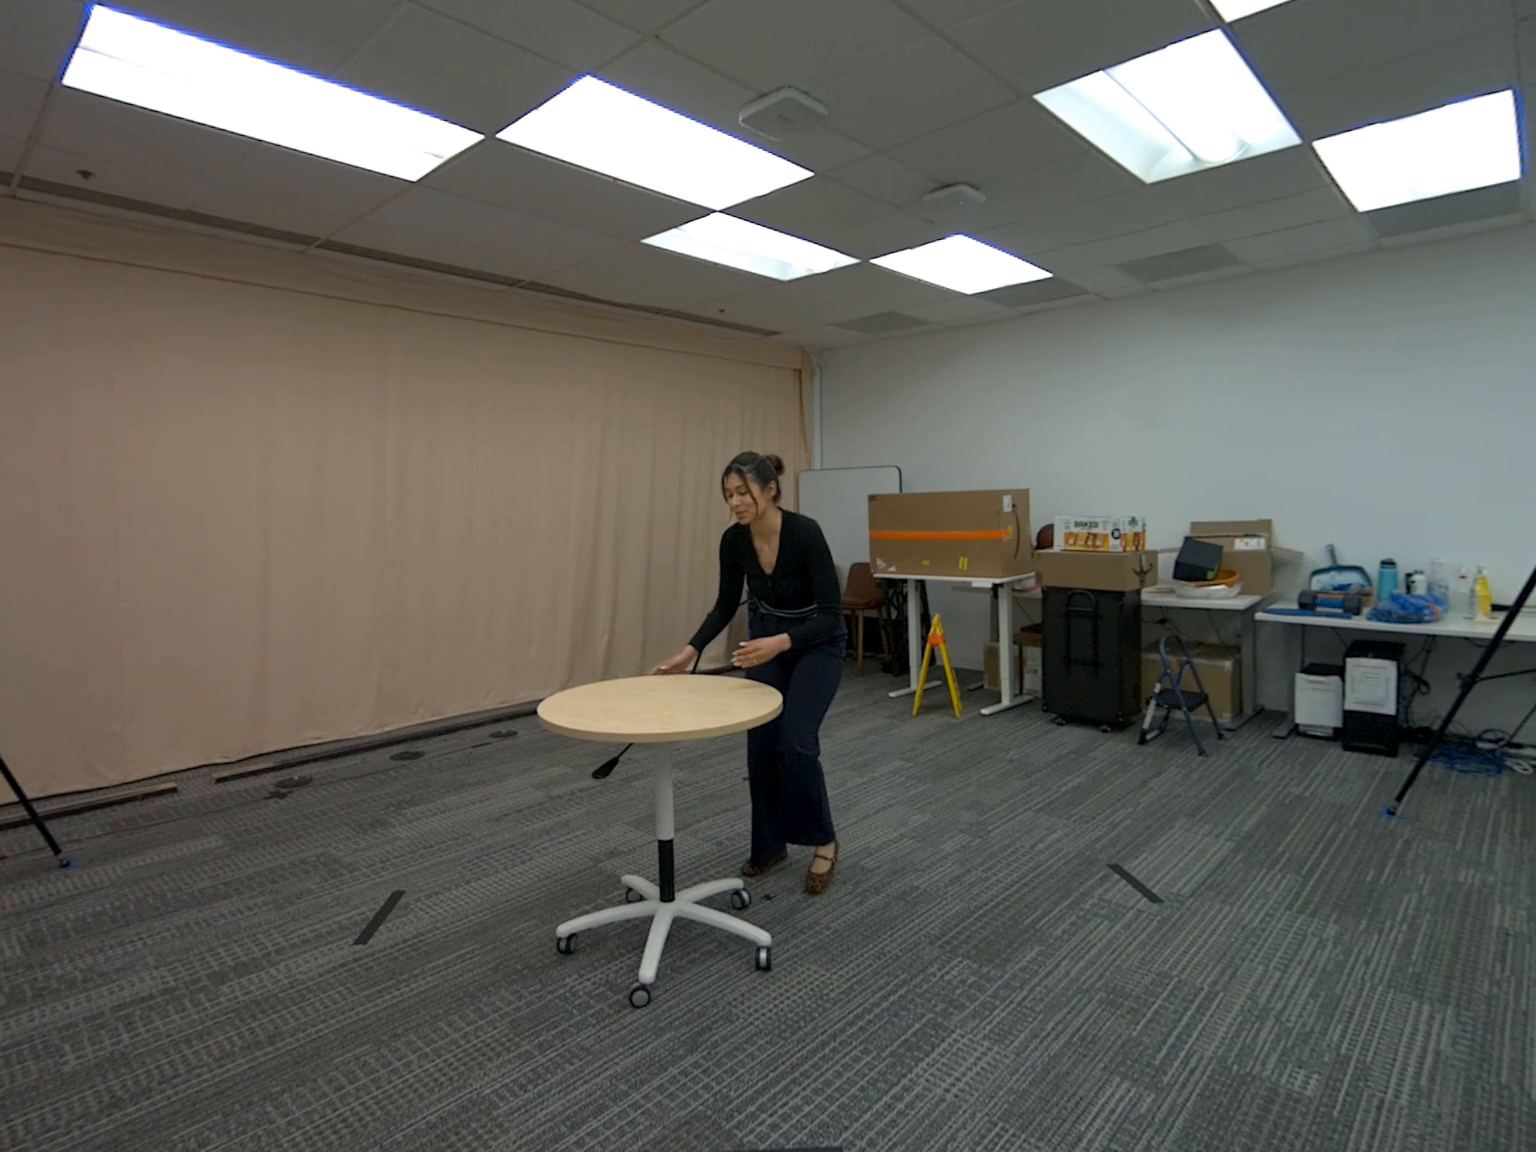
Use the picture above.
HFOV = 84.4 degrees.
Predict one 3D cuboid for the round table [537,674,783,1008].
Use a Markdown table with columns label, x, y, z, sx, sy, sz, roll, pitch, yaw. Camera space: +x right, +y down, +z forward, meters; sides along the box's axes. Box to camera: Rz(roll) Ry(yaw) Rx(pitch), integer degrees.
| label | x | y | z | sx | sy | sz | roll | pitch | yaw |
| --- | --- | --- | --- | --- | --- | --- | --- | --- | --- |
| round table | -0.328 | 0.786 | 2.662 | 0.763 | 0.792 | 0.767 | -2 | 4 | -2 |
